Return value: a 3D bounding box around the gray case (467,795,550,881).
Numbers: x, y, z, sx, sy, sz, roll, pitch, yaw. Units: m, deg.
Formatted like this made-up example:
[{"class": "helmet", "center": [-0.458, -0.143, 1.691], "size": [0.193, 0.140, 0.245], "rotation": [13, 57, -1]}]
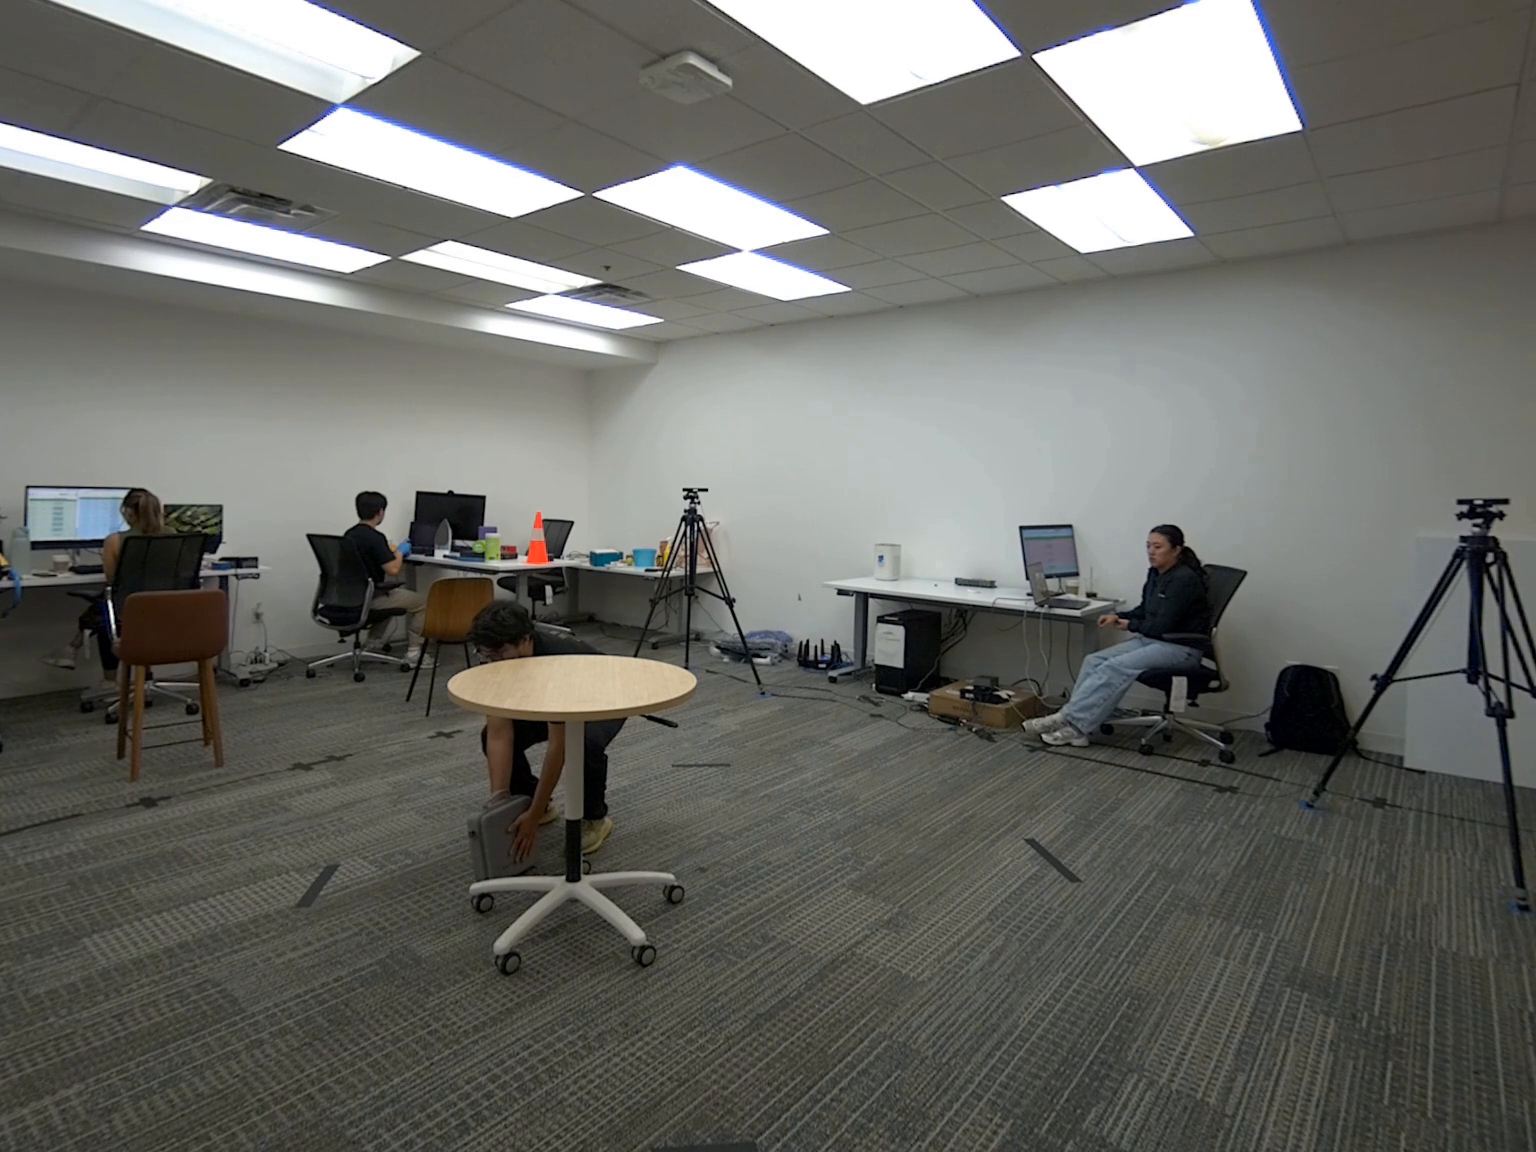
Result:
[{"class": "gray case", "center": [-0.959, 0.938, 3.031], "size": [0.106, 0.261, 0.251], "rotation": [-10, -1, 27]}]
